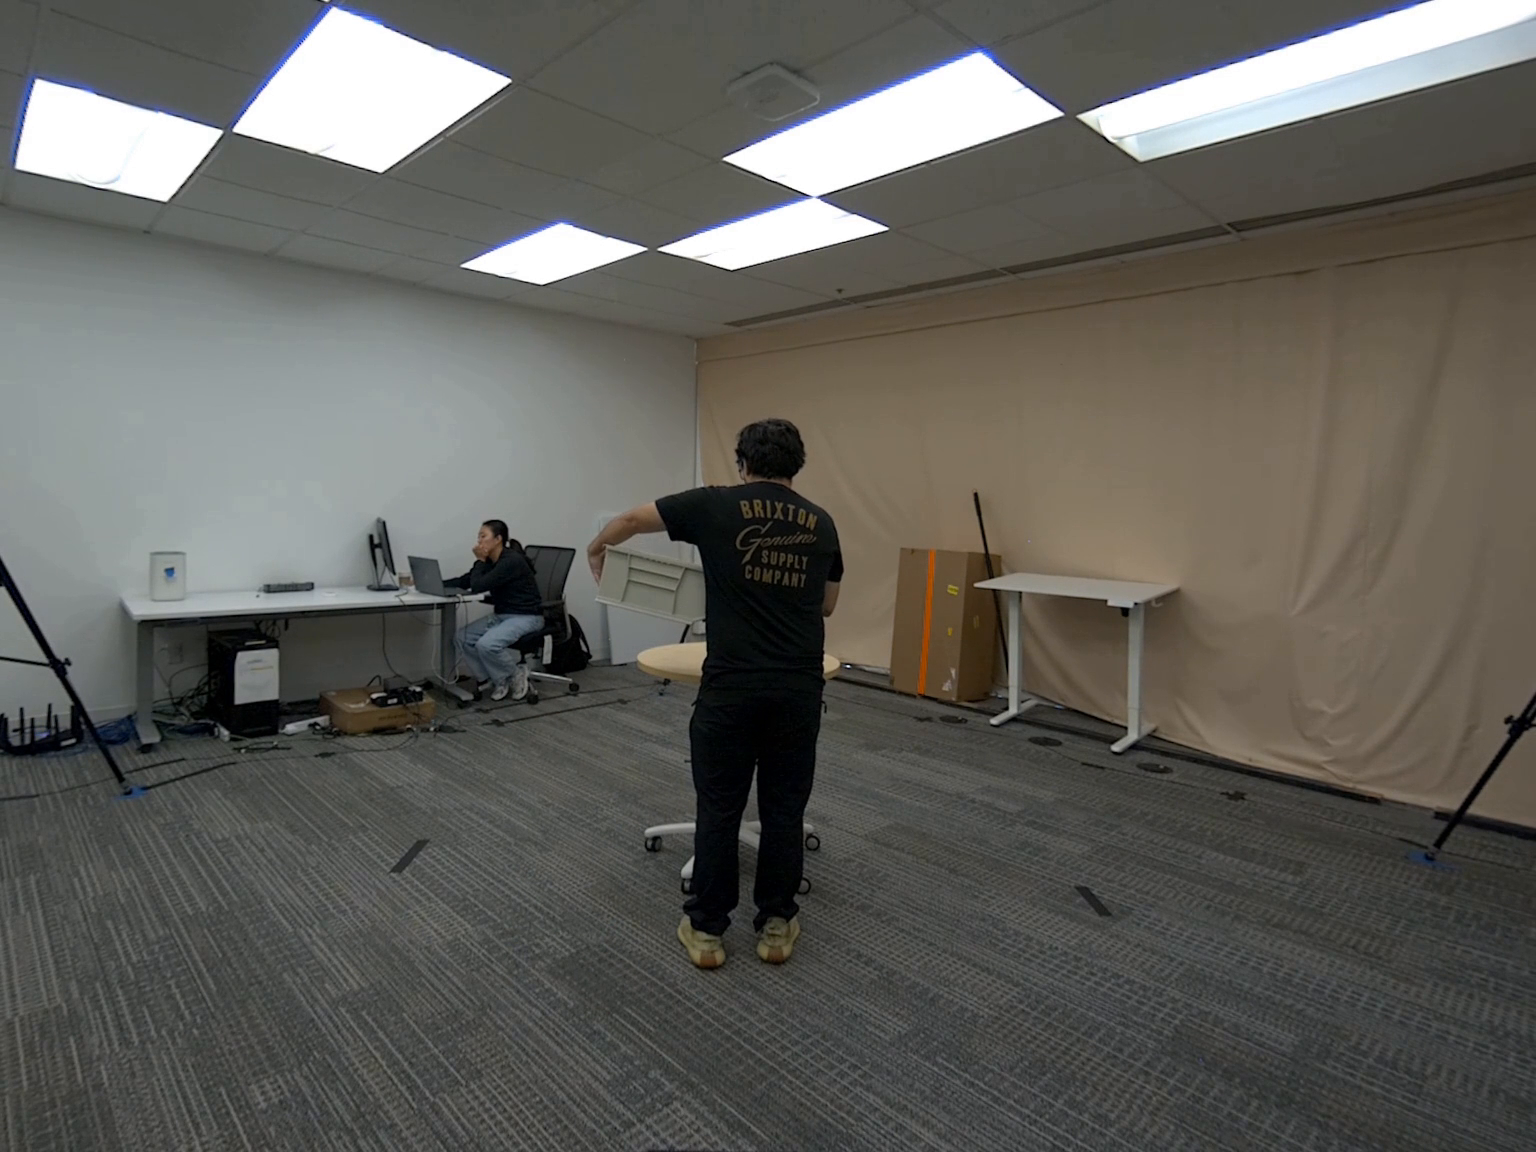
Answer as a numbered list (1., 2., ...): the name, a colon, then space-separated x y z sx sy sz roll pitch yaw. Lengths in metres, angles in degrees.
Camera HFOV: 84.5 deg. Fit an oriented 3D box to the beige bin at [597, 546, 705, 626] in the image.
1. beige bin: -0.330 0.034 2.781 0.380 0.189 0.420 12 2 6
